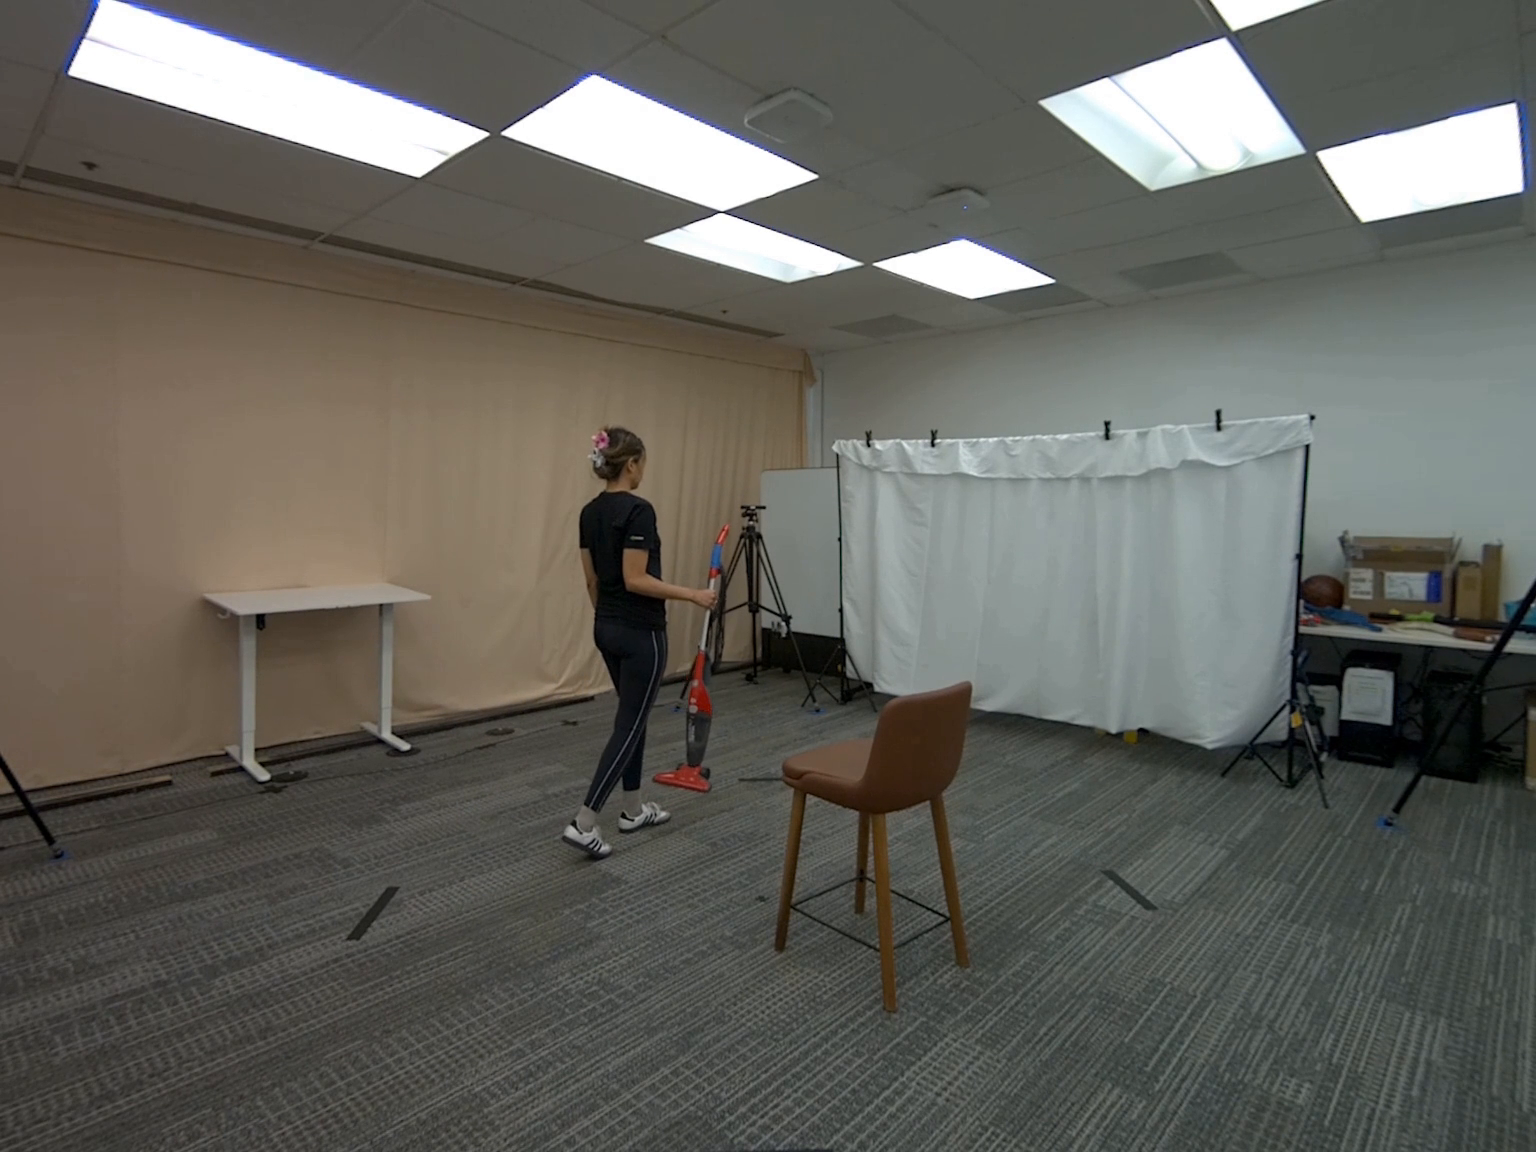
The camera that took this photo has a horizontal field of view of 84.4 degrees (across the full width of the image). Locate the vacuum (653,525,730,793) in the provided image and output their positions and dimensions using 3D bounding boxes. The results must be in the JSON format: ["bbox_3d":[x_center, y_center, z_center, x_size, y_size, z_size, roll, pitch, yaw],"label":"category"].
[{"bbox_3d":[-0.240,0.313,3.449,0.260,1.054,0.139,3,-12,33],"label":"vacuum"}]
